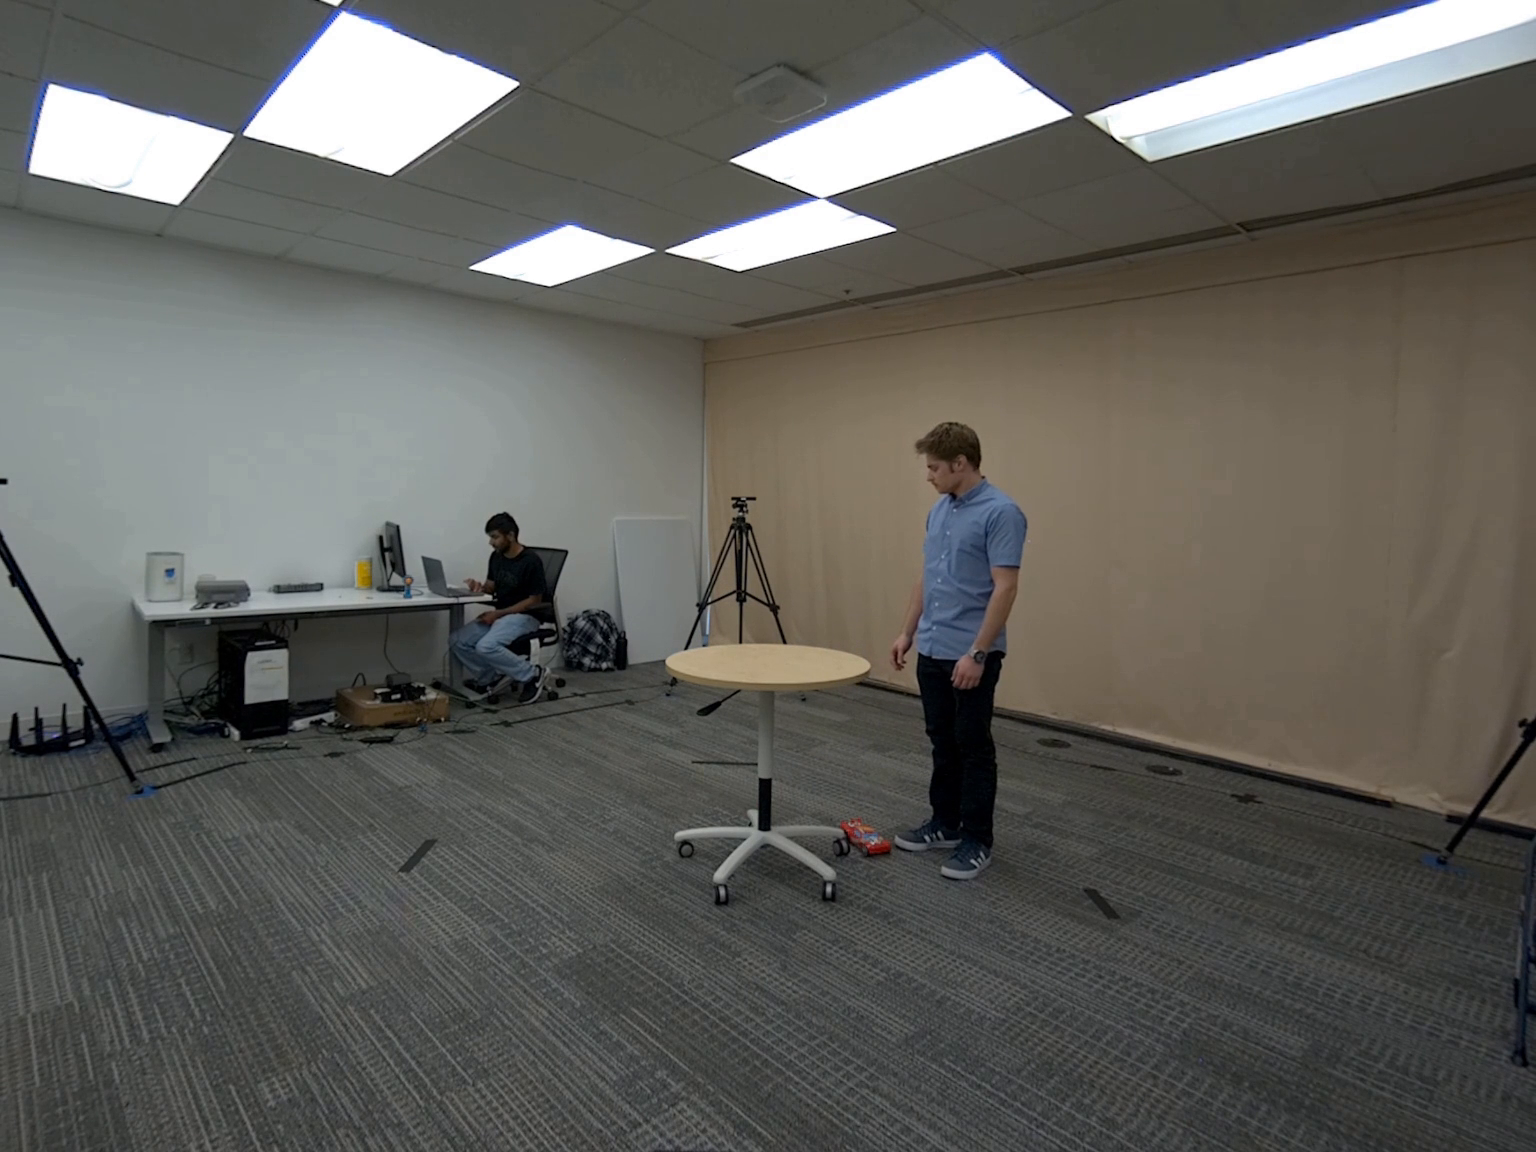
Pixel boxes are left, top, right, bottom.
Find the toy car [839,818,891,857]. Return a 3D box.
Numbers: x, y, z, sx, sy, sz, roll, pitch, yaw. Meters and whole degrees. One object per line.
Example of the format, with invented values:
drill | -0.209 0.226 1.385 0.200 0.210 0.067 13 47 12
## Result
toy car | 0.386 1.060 3.418 0.128 0.082 0.261 0 16 -25
